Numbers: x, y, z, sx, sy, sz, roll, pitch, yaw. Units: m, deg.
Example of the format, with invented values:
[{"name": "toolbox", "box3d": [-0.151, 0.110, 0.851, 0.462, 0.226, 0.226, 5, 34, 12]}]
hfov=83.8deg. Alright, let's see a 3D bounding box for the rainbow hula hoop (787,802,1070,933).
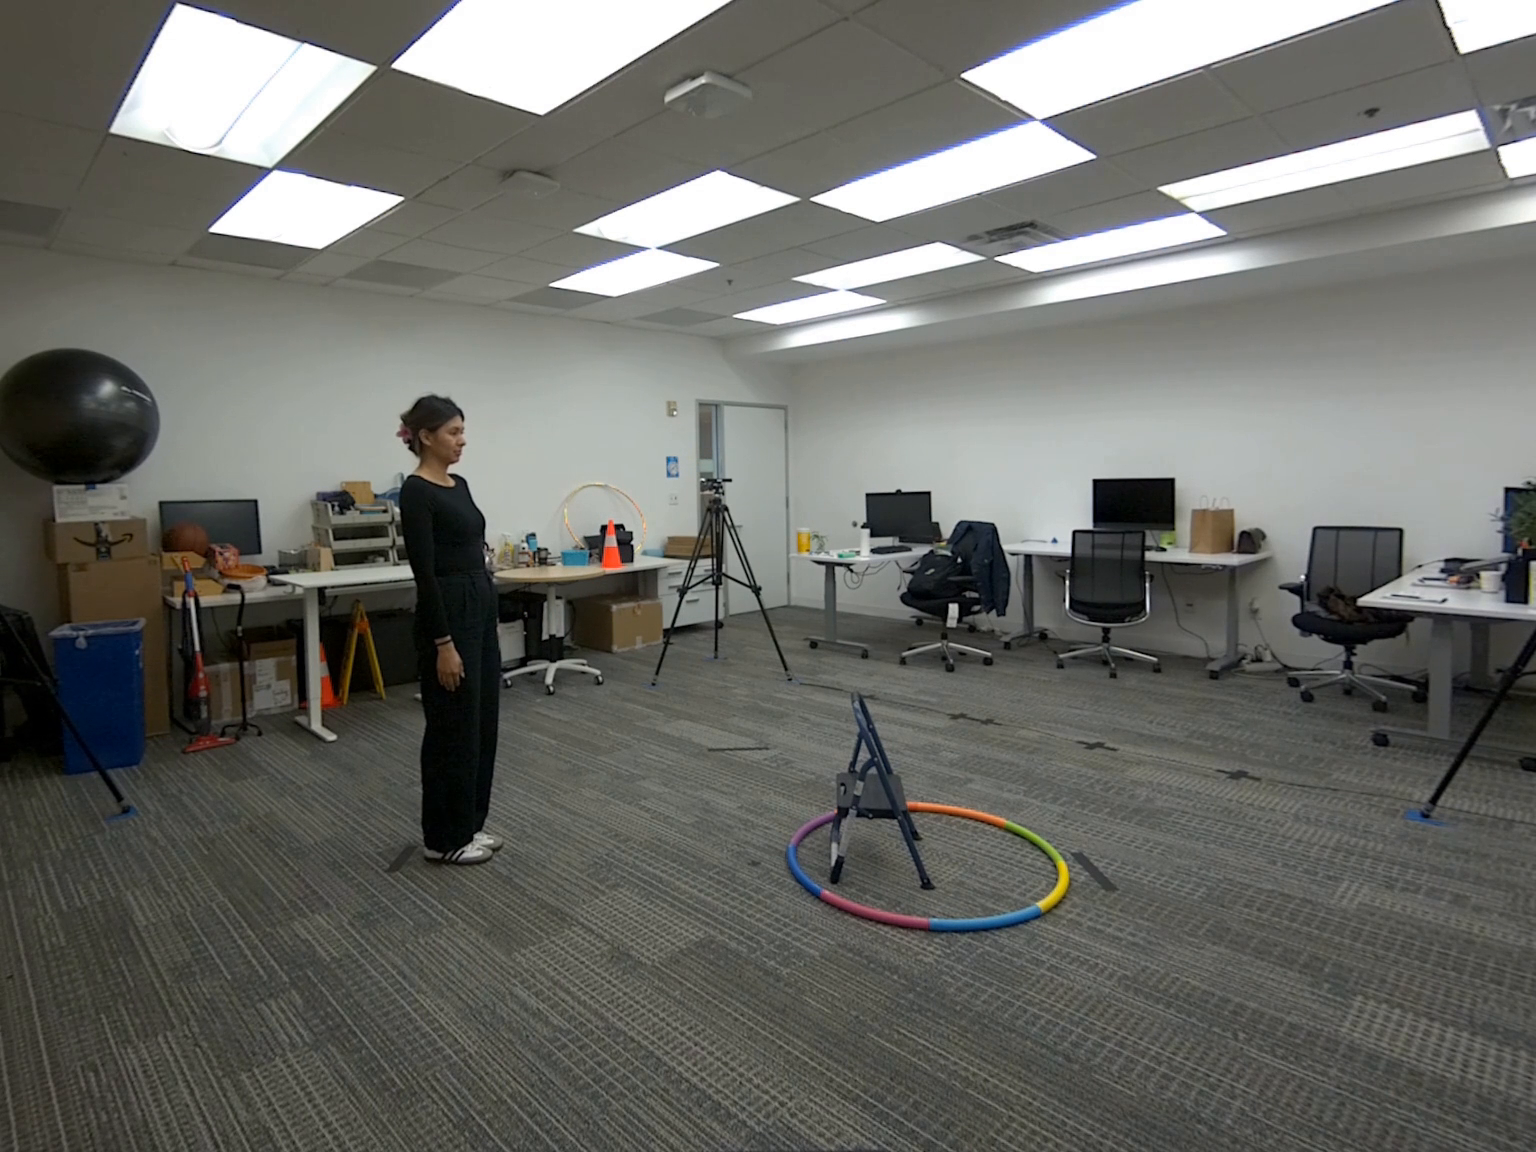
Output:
[{"name": "rainbow hula hoop", "box3d": [0.551, 1.000, 3.100, 0.978, 0.035, 0.984, -2, 6, -2]}]
